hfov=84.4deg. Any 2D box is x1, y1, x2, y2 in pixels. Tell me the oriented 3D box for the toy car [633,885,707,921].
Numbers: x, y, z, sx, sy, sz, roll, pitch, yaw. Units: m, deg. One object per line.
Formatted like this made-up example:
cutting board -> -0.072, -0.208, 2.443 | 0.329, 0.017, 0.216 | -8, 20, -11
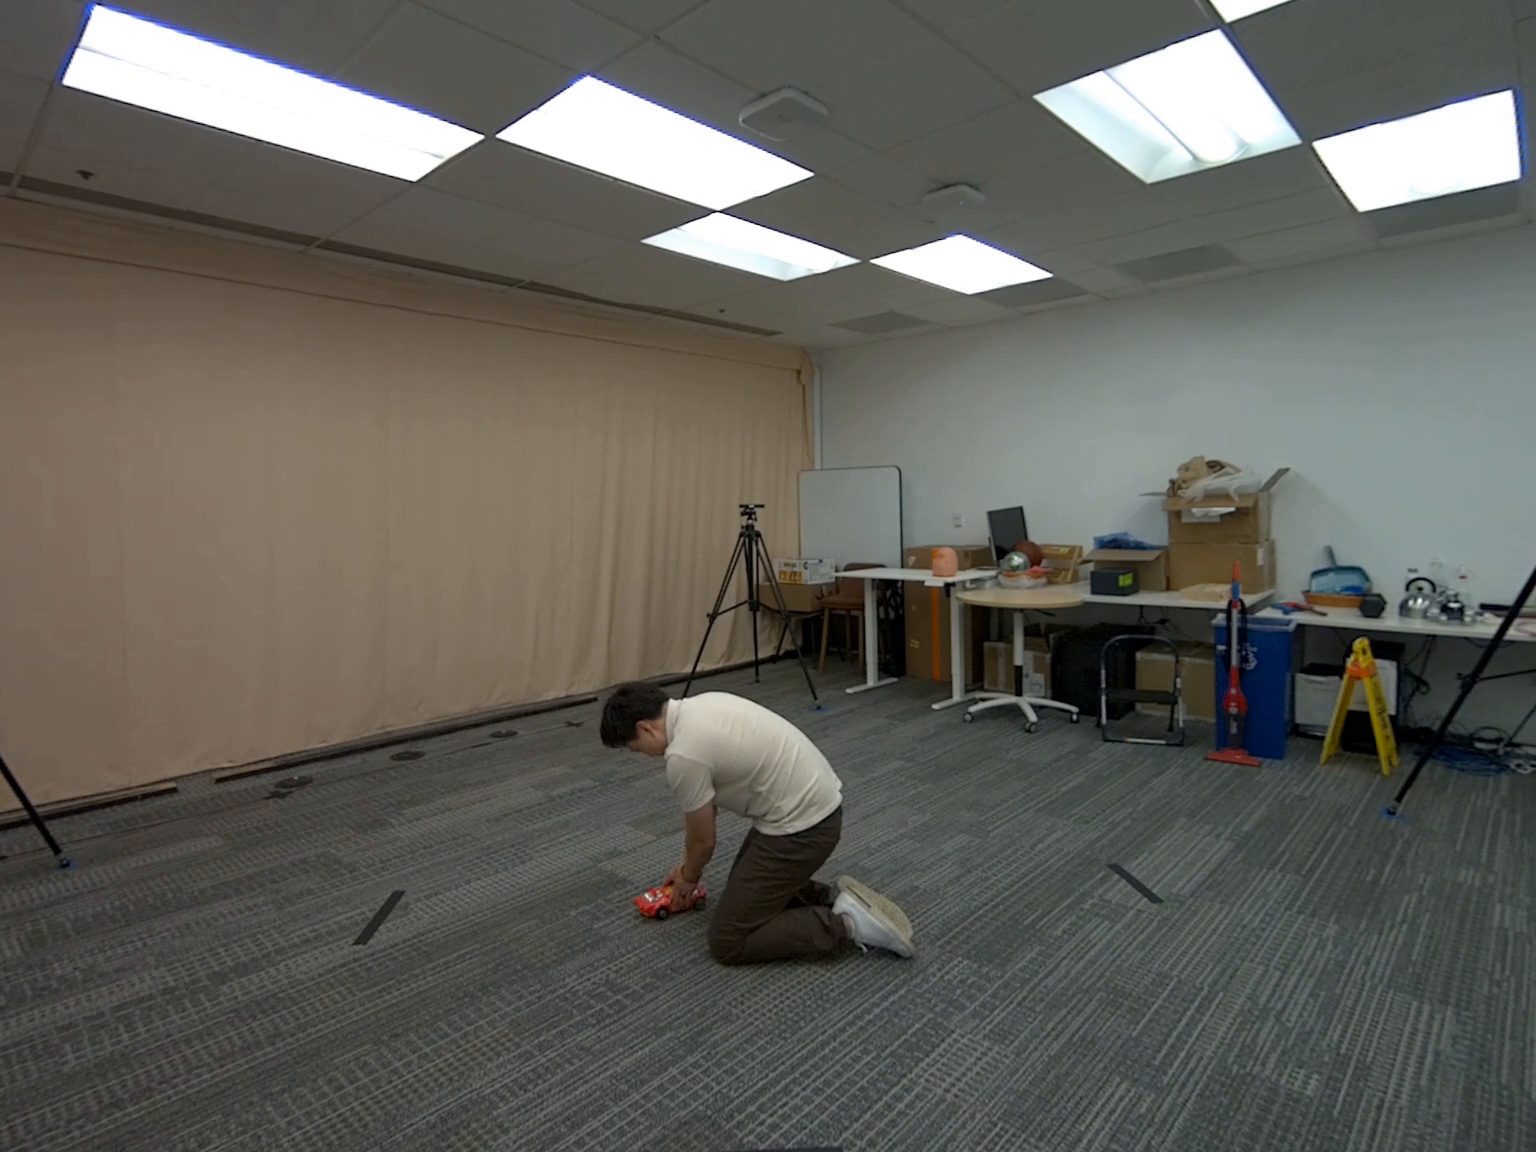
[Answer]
toy car -> -0.337, 1.126, 2.909 | 0.247, 0.083, 0.134 | 11, -2, -28
